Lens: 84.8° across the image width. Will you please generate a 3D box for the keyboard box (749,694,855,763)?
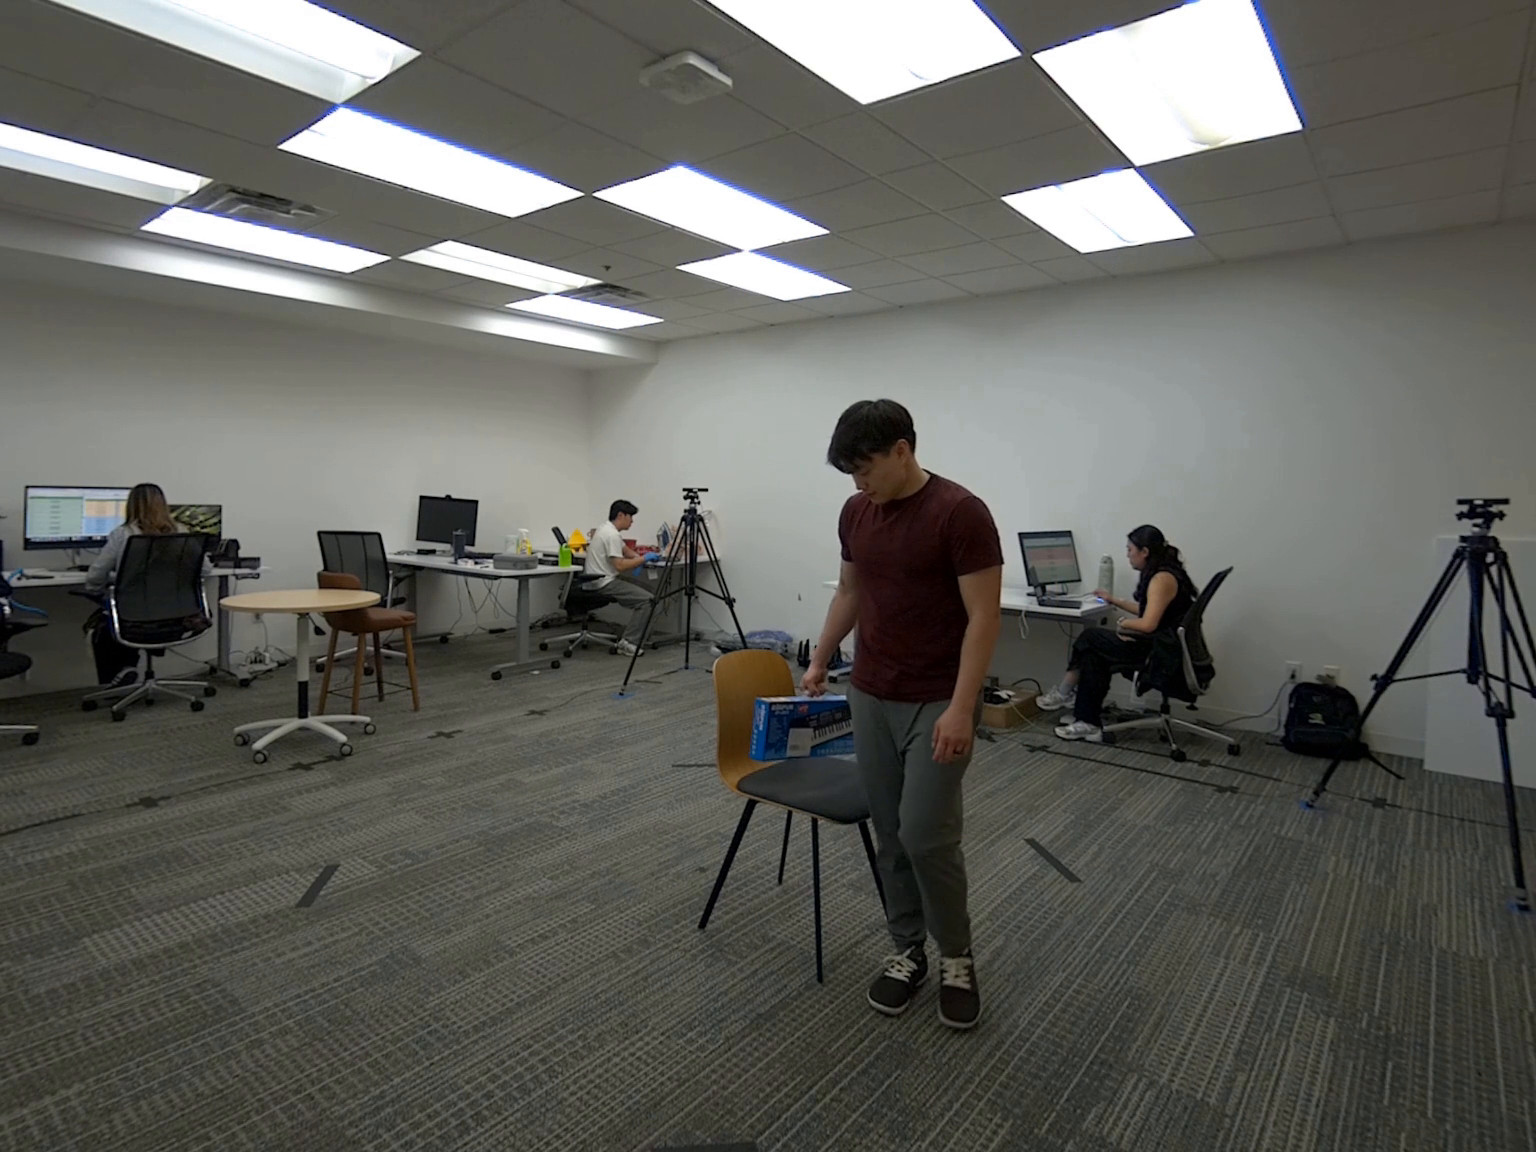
[{"bbox_3d":[0.124,0.456,2.577,0.422,0.176,0.061,6,-2,-41],"label":"keyboard box"}]
